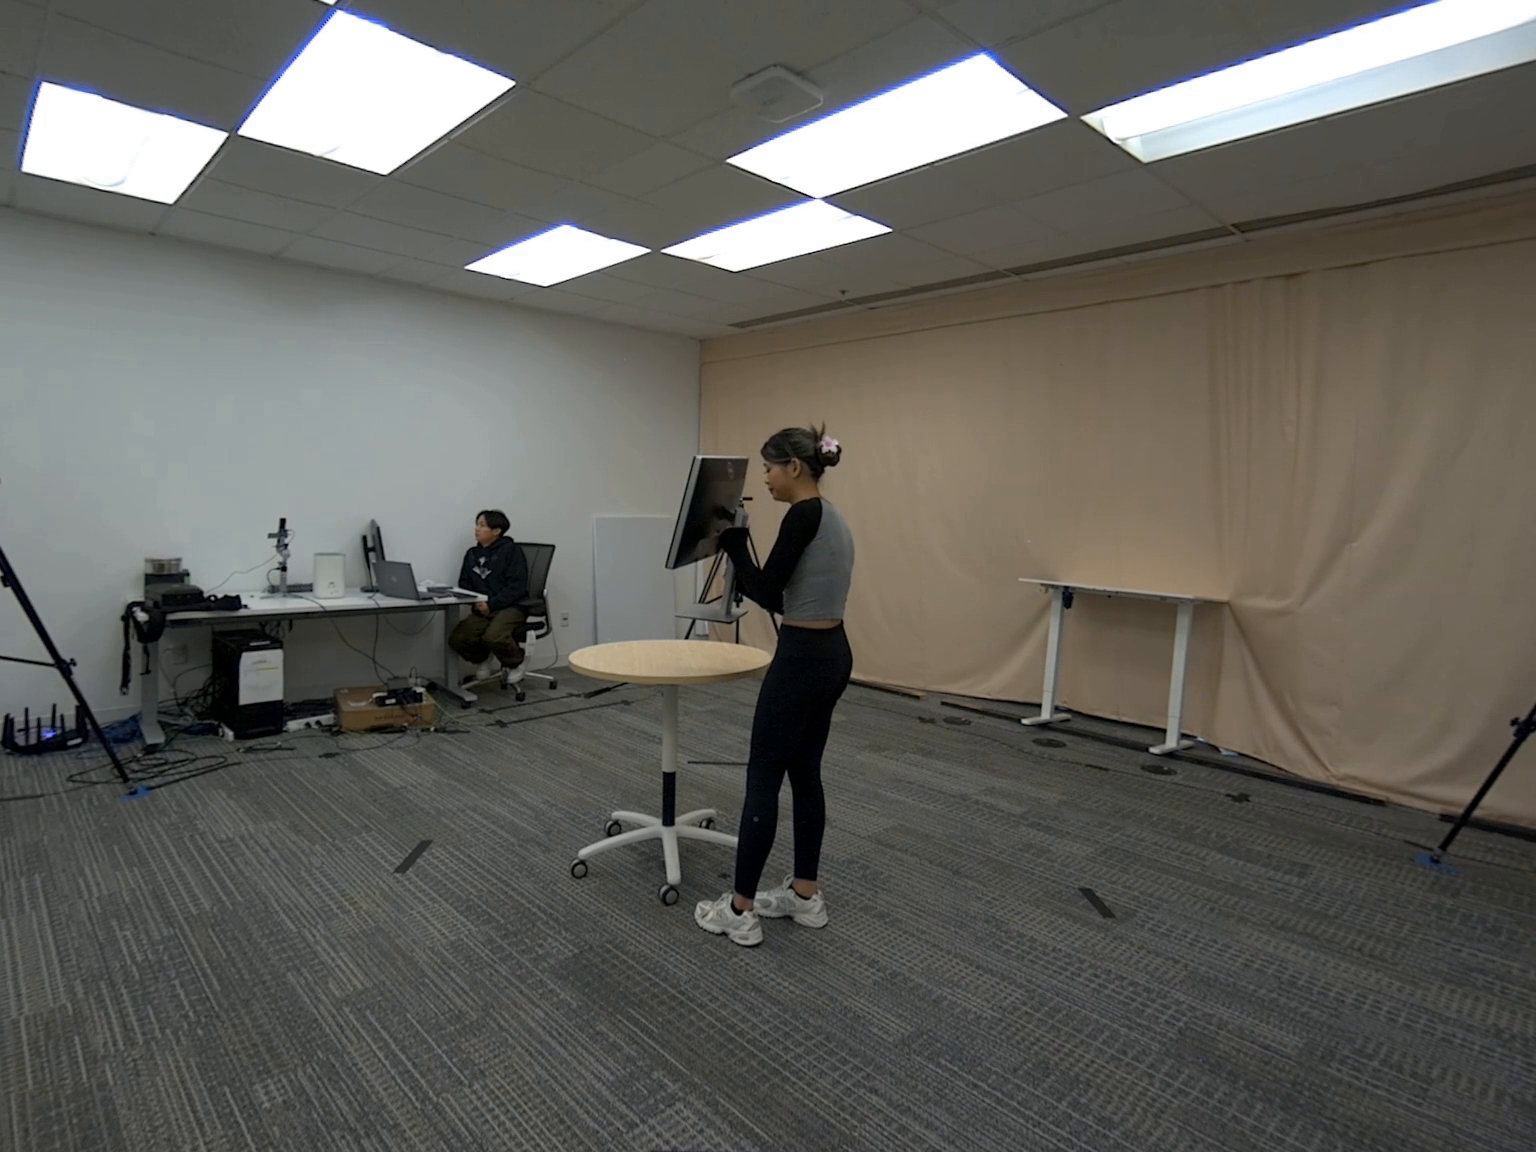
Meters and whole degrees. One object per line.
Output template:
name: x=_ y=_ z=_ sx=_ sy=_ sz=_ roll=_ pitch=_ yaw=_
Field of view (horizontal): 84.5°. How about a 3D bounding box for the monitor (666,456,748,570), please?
monitor: x=-0.166 y=-0.135 z=2.839 sx=0.189 sy=0.520 sz=0.535 roll=5 pitch=7 yaw=12
